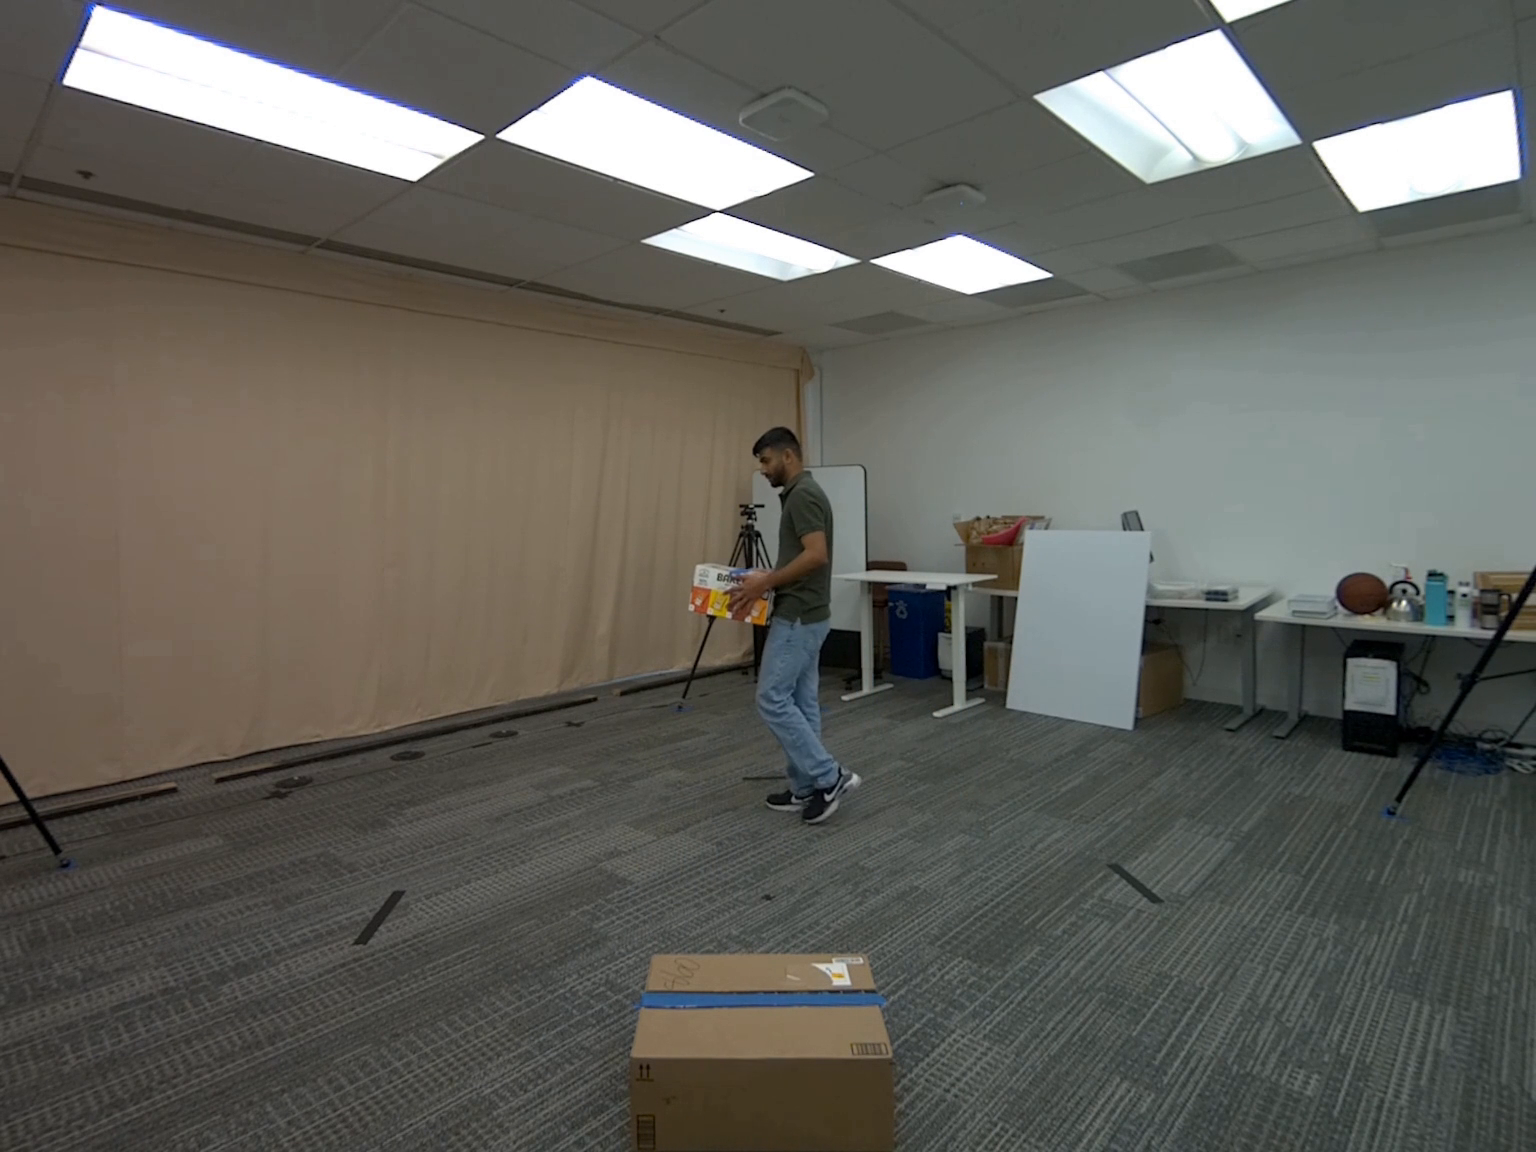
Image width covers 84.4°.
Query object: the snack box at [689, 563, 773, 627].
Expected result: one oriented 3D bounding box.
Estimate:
[{"bbox_3d":[-0.148,0.076,3.826,0.343,0.205,0.402,11,3,5],"label":"snack box"}]
